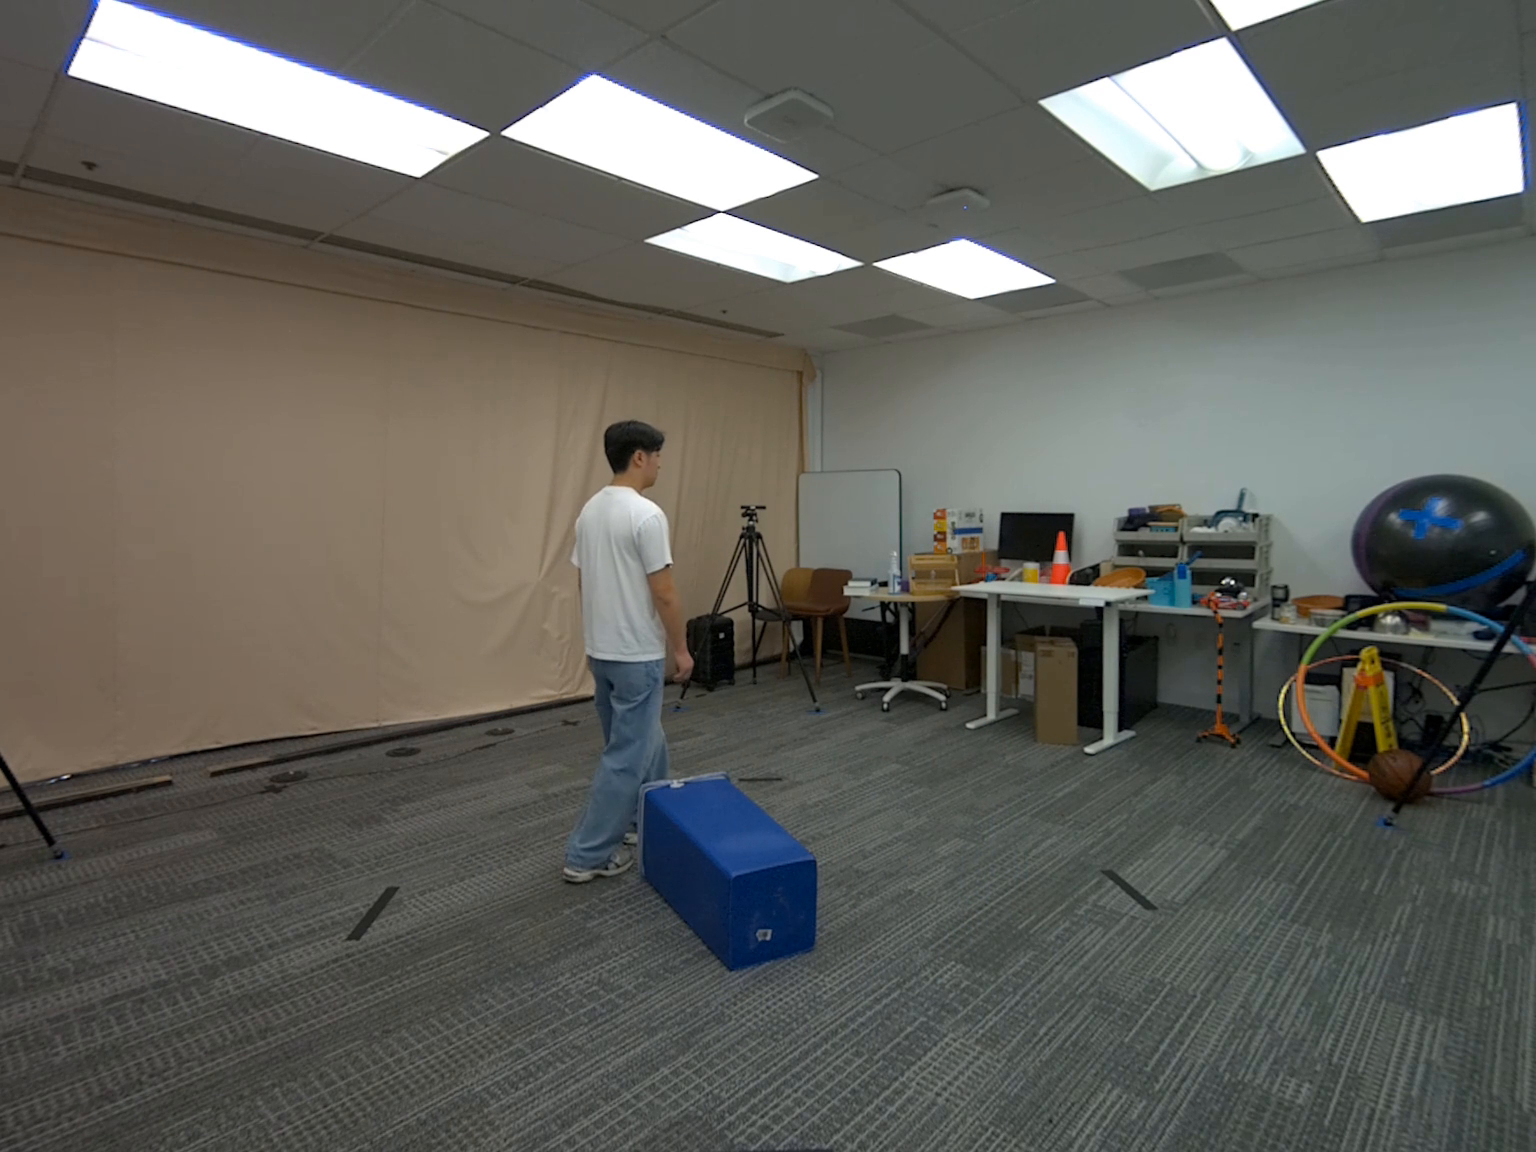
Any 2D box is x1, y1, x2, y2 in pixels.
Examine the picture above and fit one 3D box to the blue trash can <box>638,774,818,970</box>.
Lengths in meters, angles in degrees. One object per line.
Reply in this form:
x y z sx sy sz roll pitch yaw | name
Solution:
-0.140 0.990 2.879 0.365 0.377 0.734 -2 7 -28 | blue trash can
